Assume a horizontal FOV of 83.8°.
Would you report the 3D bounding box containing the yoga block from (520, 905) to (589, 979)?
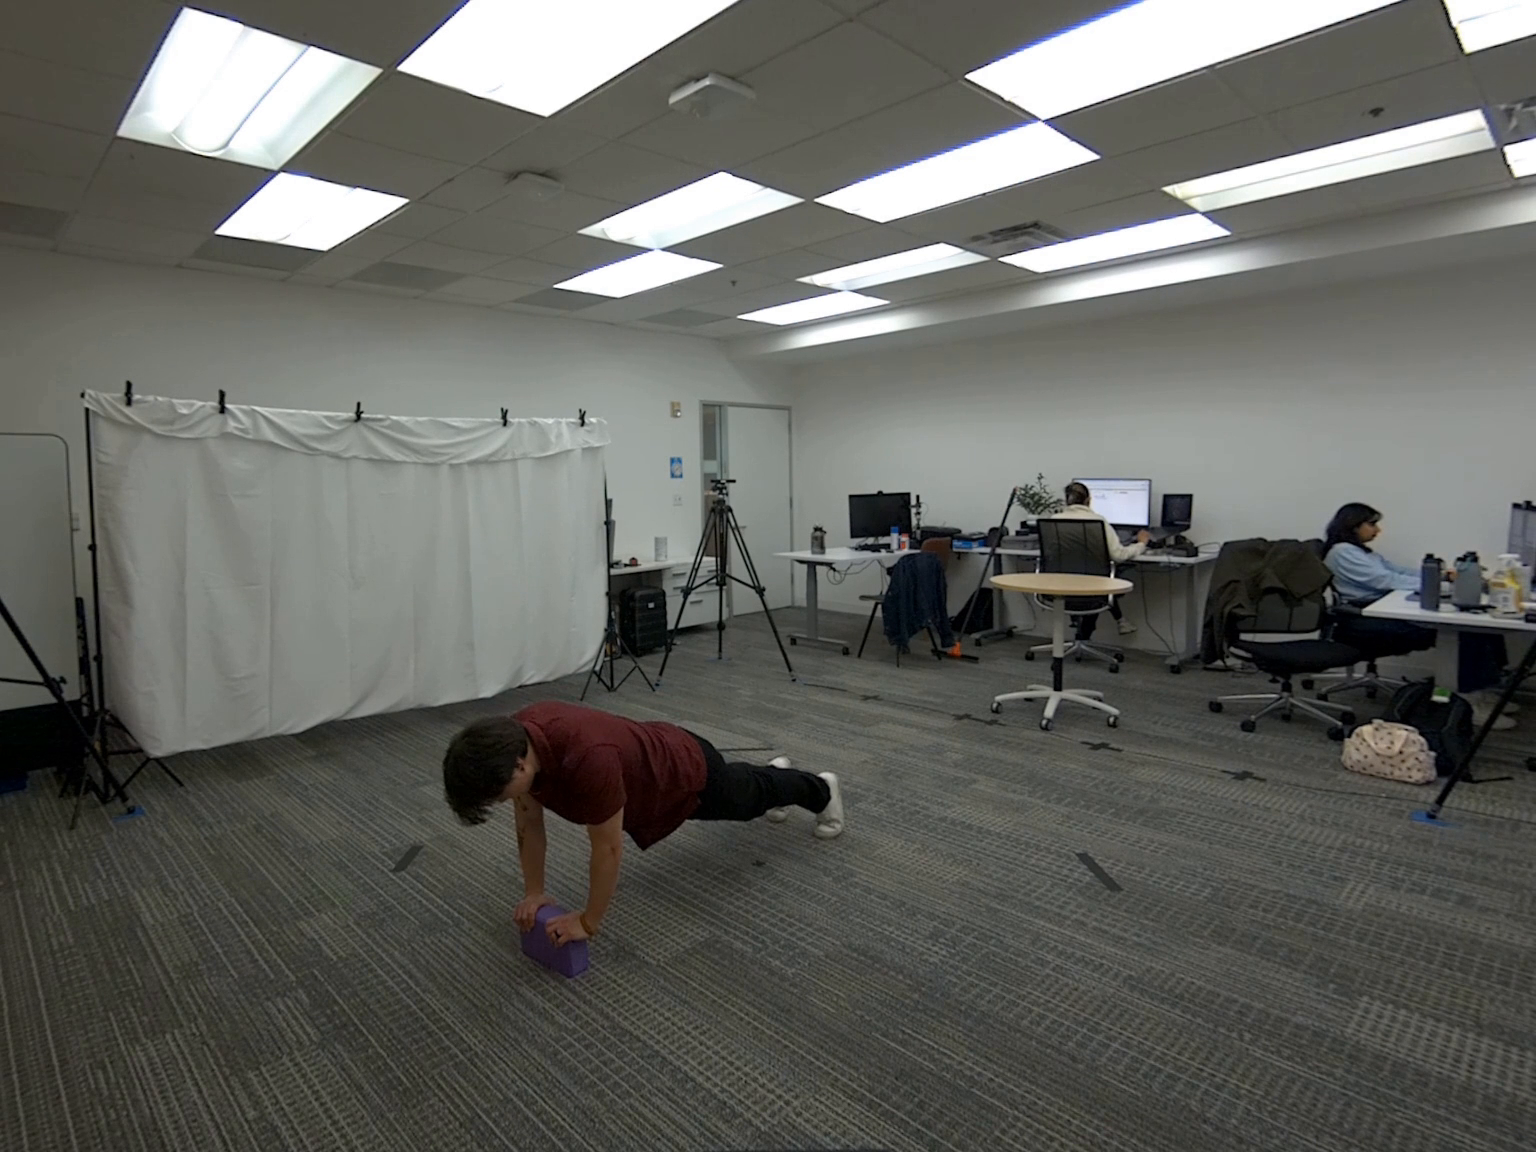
[{"bbox_3d":[-0.624,1.062,2.500,0.236,0.148,0.075,4,10,38],"label":"yoga block"}]
